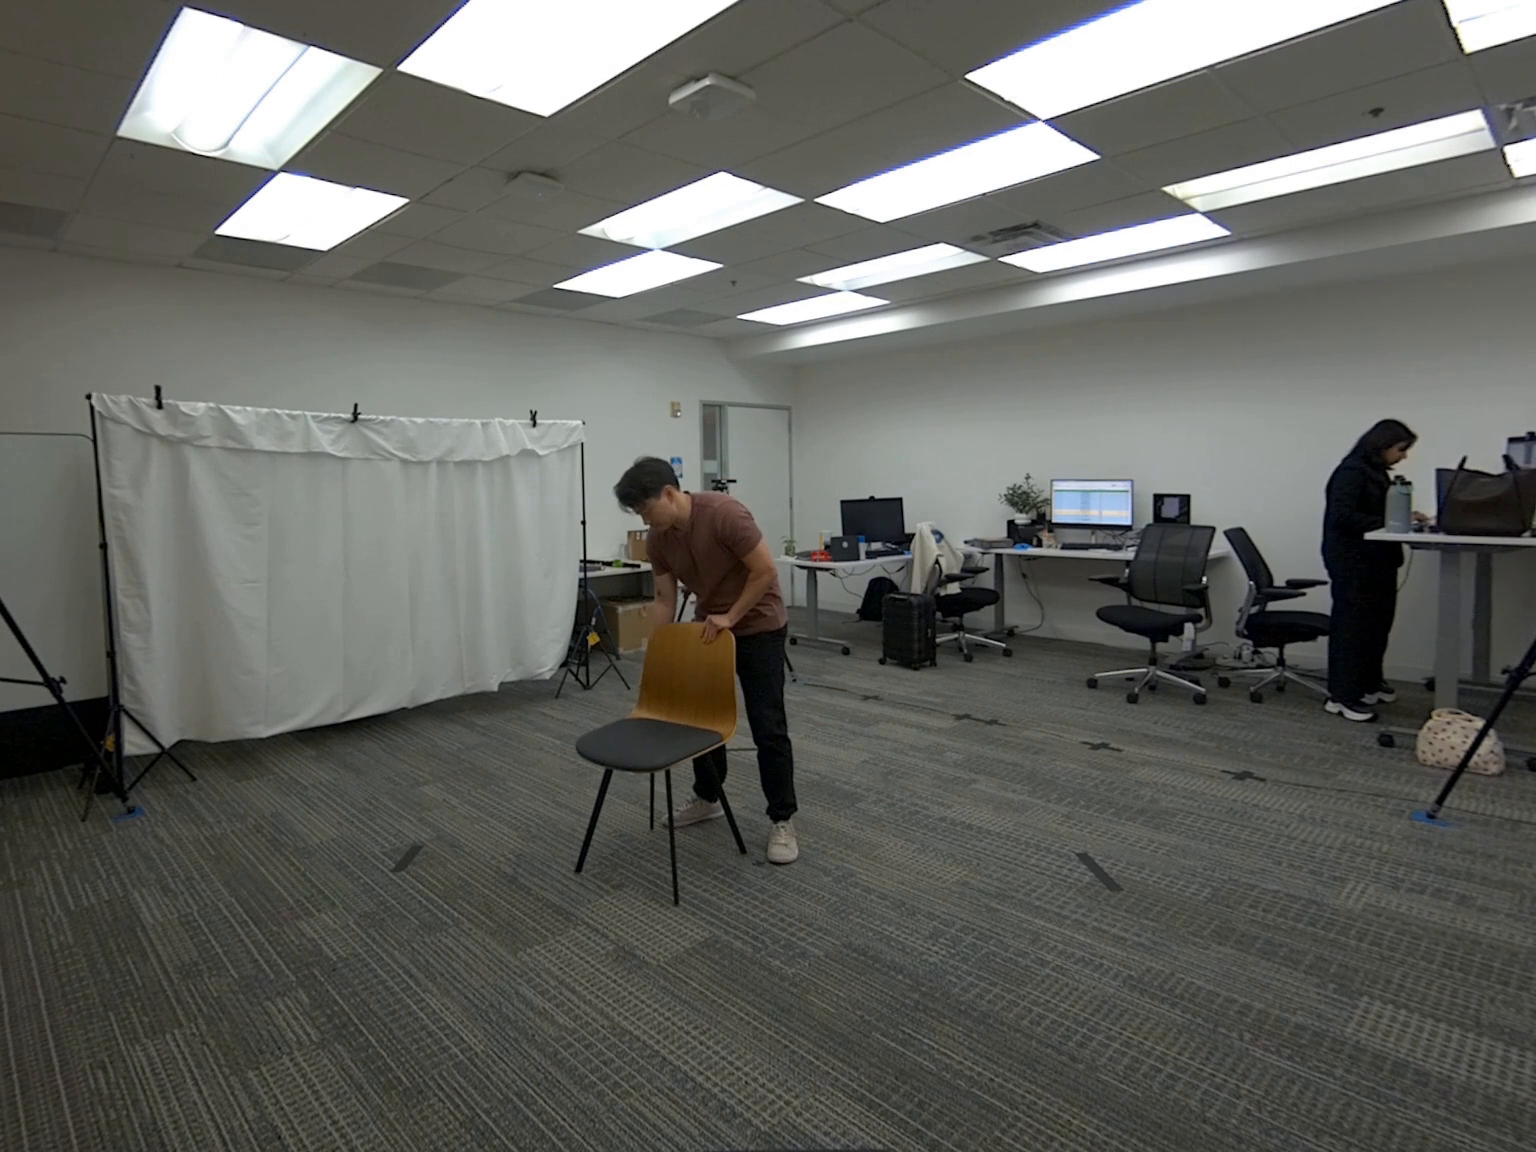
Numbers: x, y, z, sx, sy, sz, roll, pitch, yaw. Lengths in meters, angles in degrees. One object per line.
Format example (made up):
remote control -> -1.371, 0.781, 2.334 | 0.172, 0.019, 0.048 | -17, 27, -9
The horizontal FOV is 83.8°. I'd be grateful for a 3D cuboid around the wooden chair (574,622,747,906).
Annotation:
wooden chair -> -0.384, 0.628, 3.074 | 0.491, 0.877, 0.509 | 3, 1, 31
